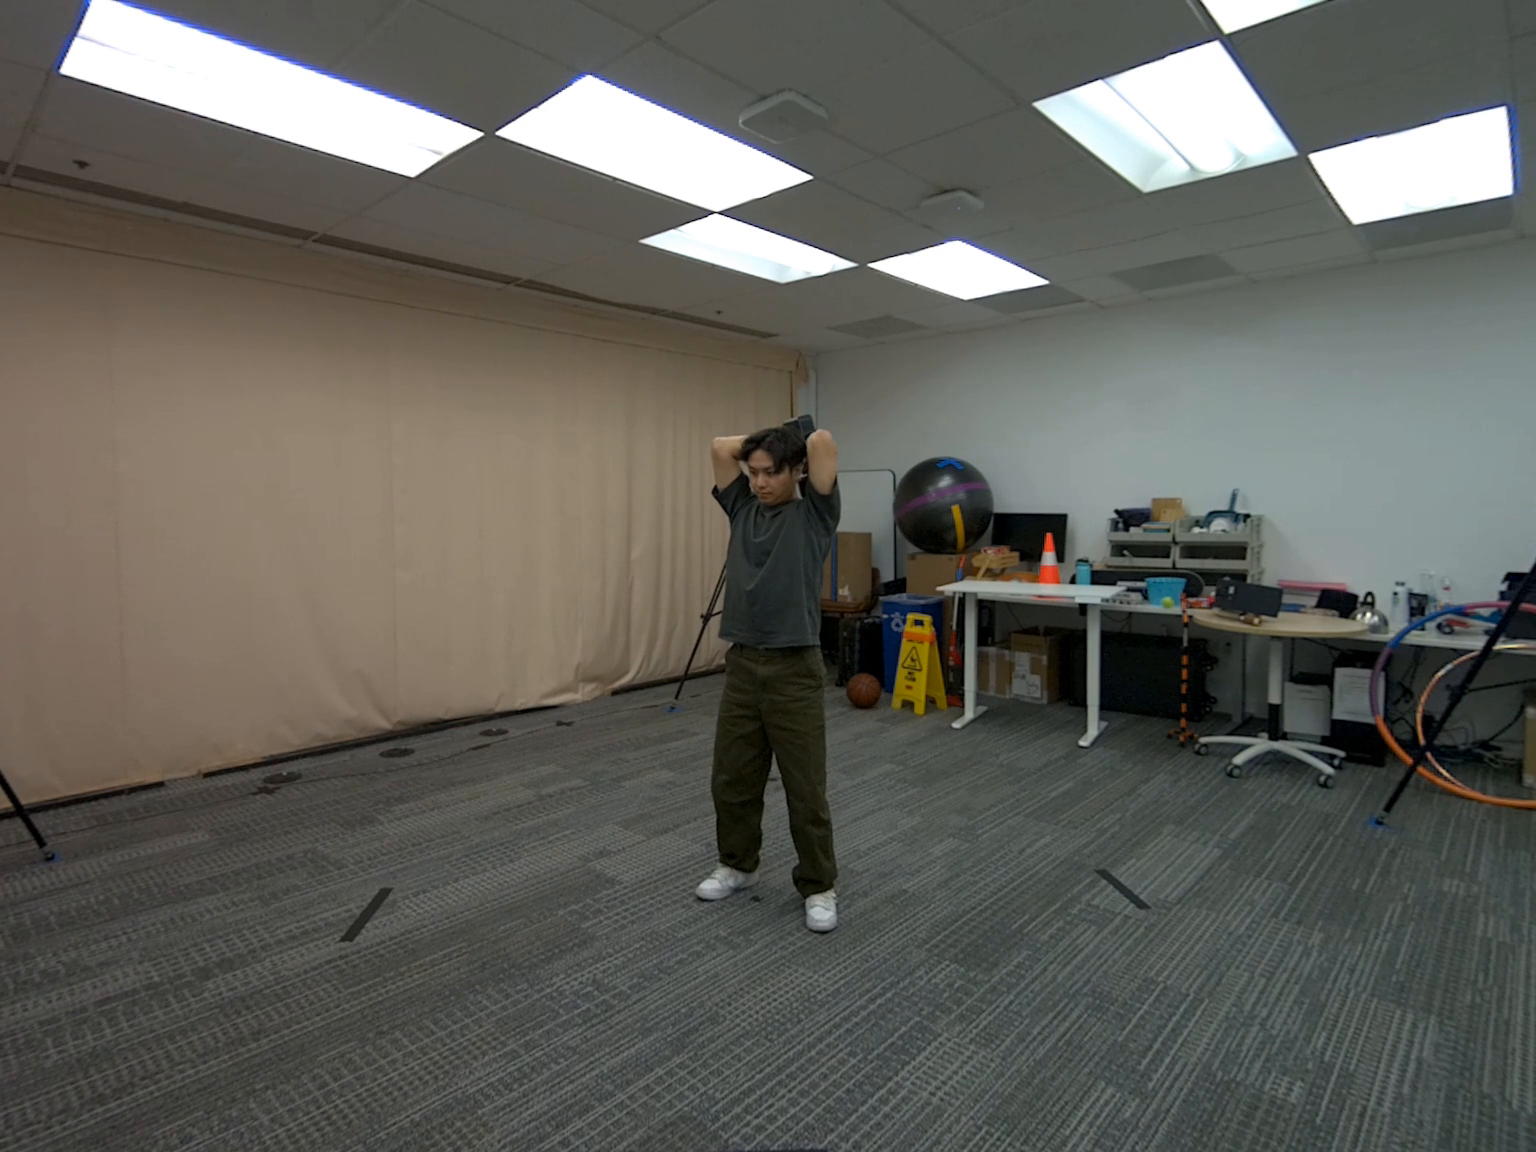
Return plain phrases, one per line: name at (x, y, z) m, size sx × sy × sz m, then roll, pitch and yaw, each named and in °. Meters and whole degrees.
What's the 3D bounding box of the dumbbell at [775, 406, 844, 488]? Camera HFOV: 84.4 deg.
dumbbell at (0.145, -0.441, 3.023) m, size 0.120 × 0.292 × 0.111 m, roll -20°, pitch 5°, yaw -27°
